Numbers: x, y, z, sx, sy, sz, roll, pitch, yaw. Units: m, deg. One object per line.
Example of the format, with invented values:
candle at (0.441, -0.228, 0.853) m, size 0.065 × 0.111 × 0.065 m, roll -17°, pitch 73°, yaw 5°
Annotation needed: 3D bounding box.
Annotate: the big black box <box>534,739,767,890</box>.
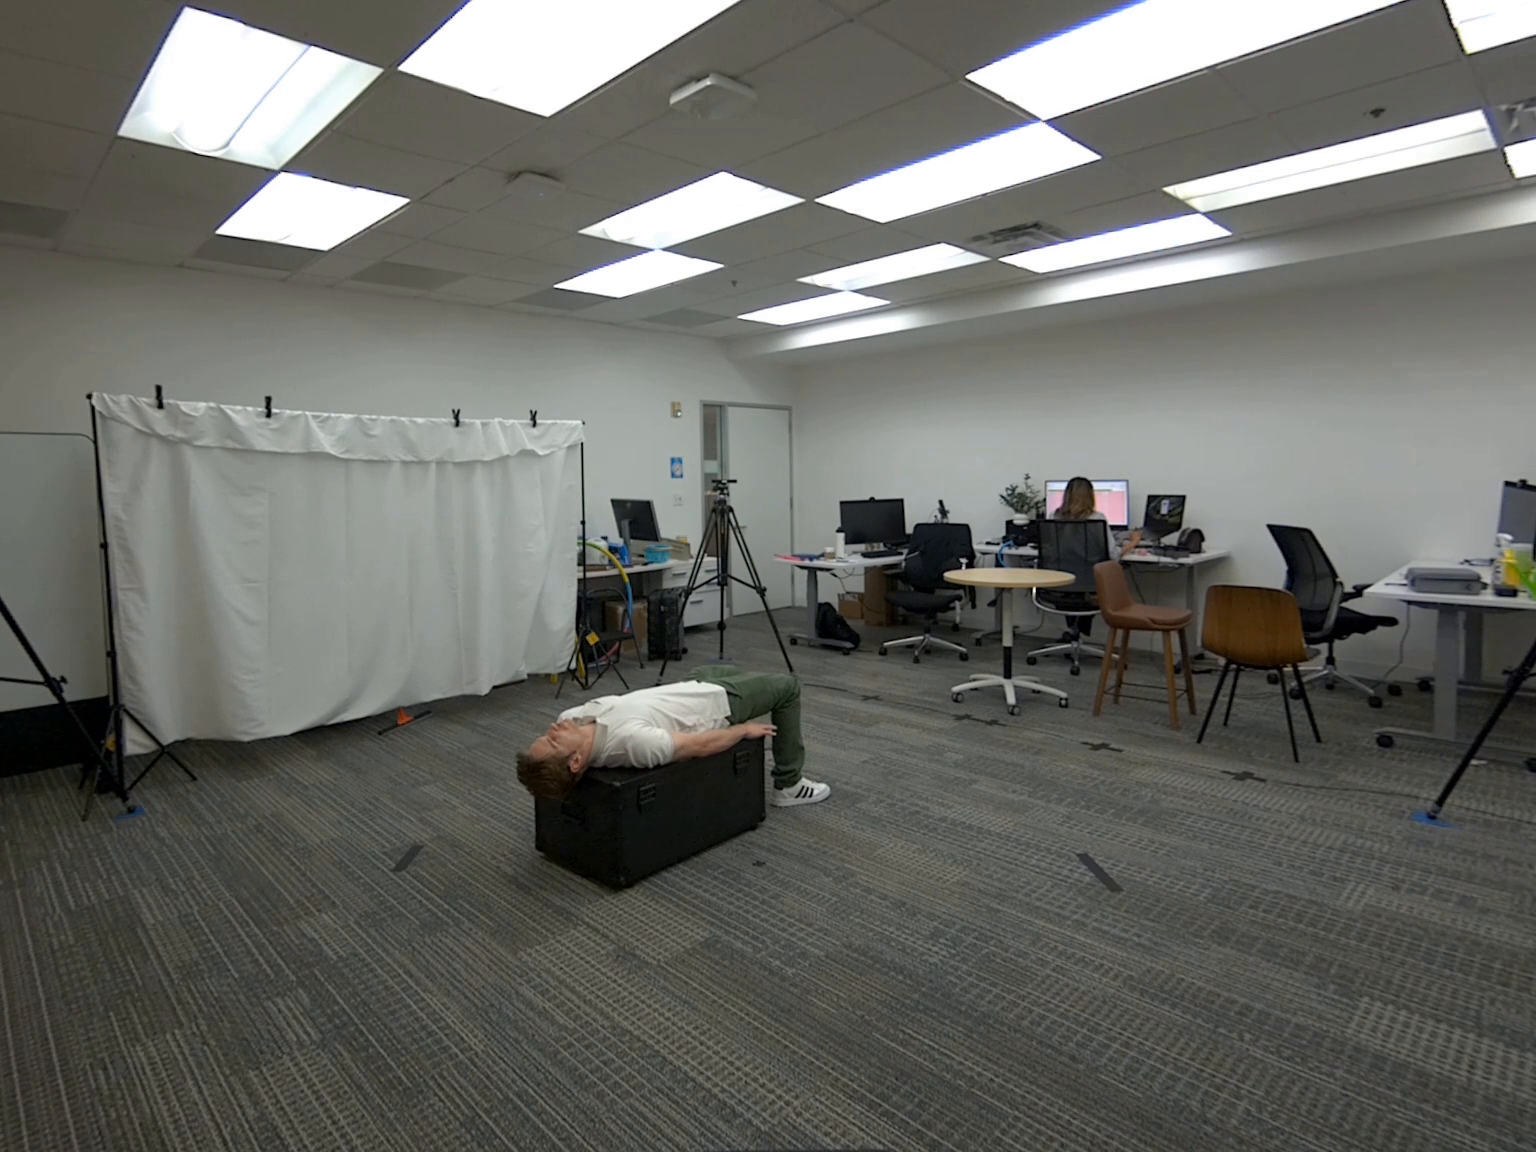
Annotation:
big black box at (-0.415, 0.839, 3.344) m, size 0.539 × 0.384 × 0.845 m, roll 3°, pitch 6°, yaw 41°
